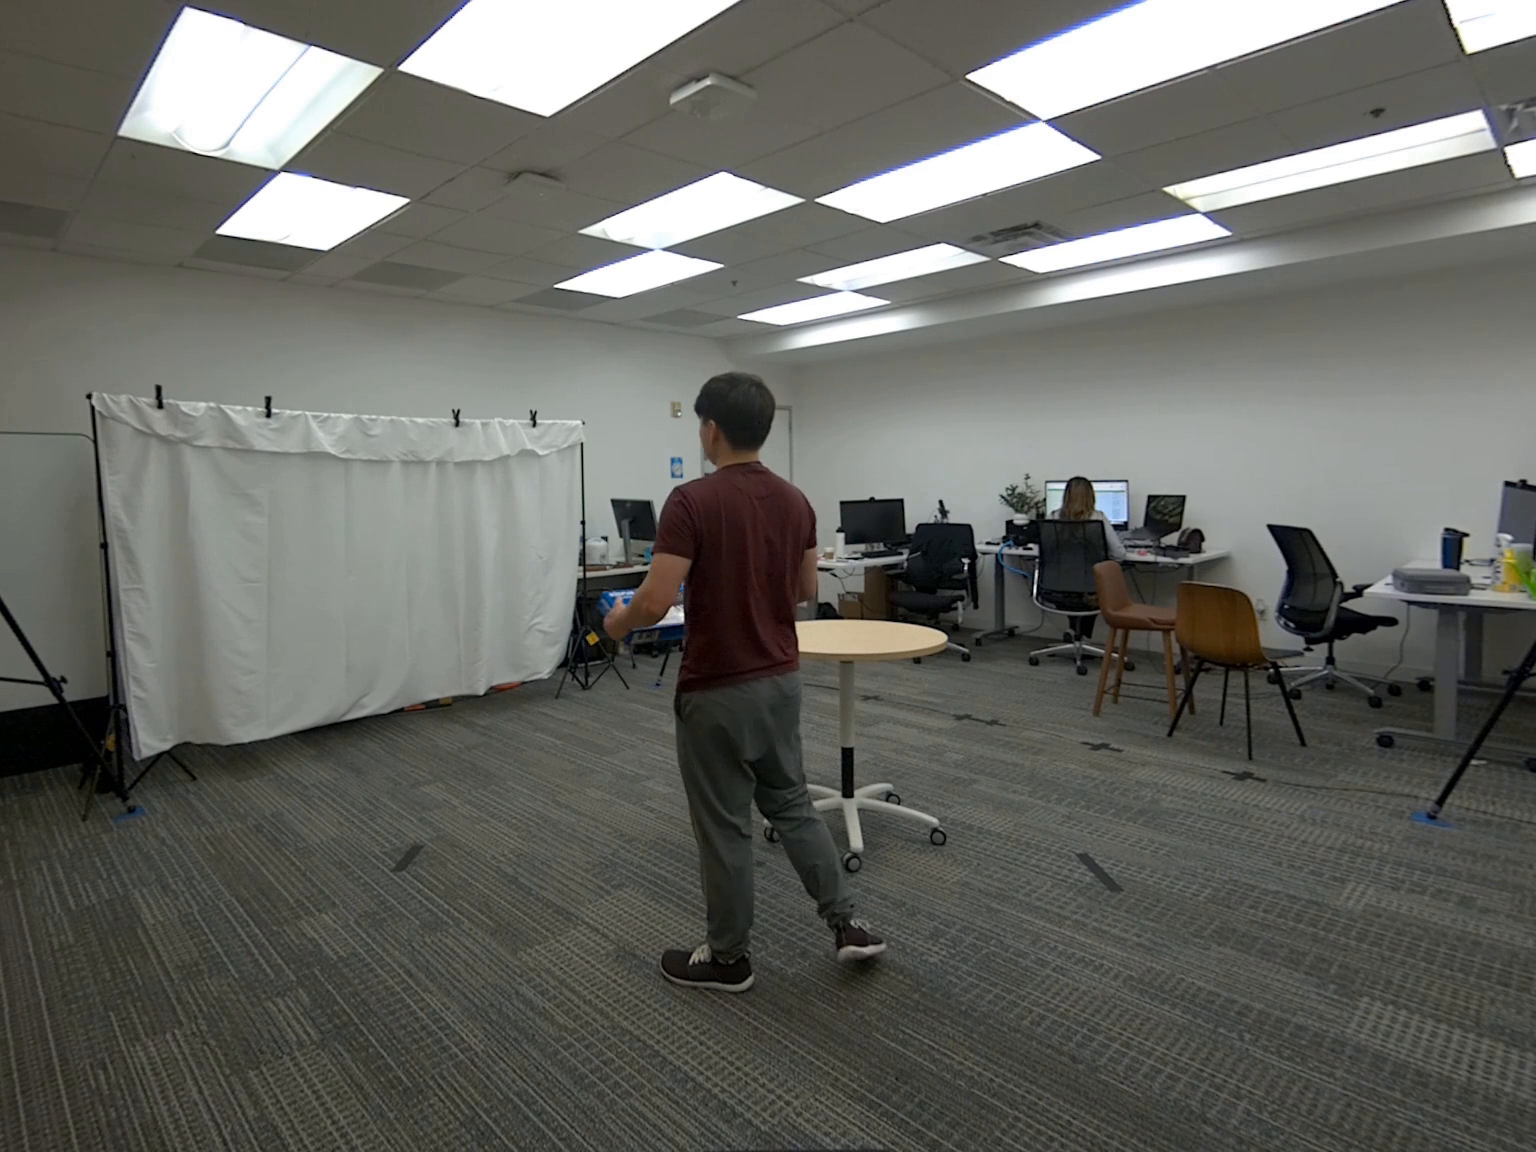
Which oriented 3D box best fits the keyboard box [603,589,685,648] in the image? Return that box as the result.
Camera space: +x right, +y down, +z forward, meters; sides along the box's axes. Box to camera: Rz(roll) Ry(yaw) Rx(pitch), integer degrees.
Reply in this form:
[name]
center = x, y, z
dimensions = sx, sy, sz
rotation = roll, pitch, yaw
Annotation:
[keyboard box]
center = -0.258, 0.109, 2.538
dimensions = 0.425, 0.058, 0.182
rotation = -4, 38, -46
